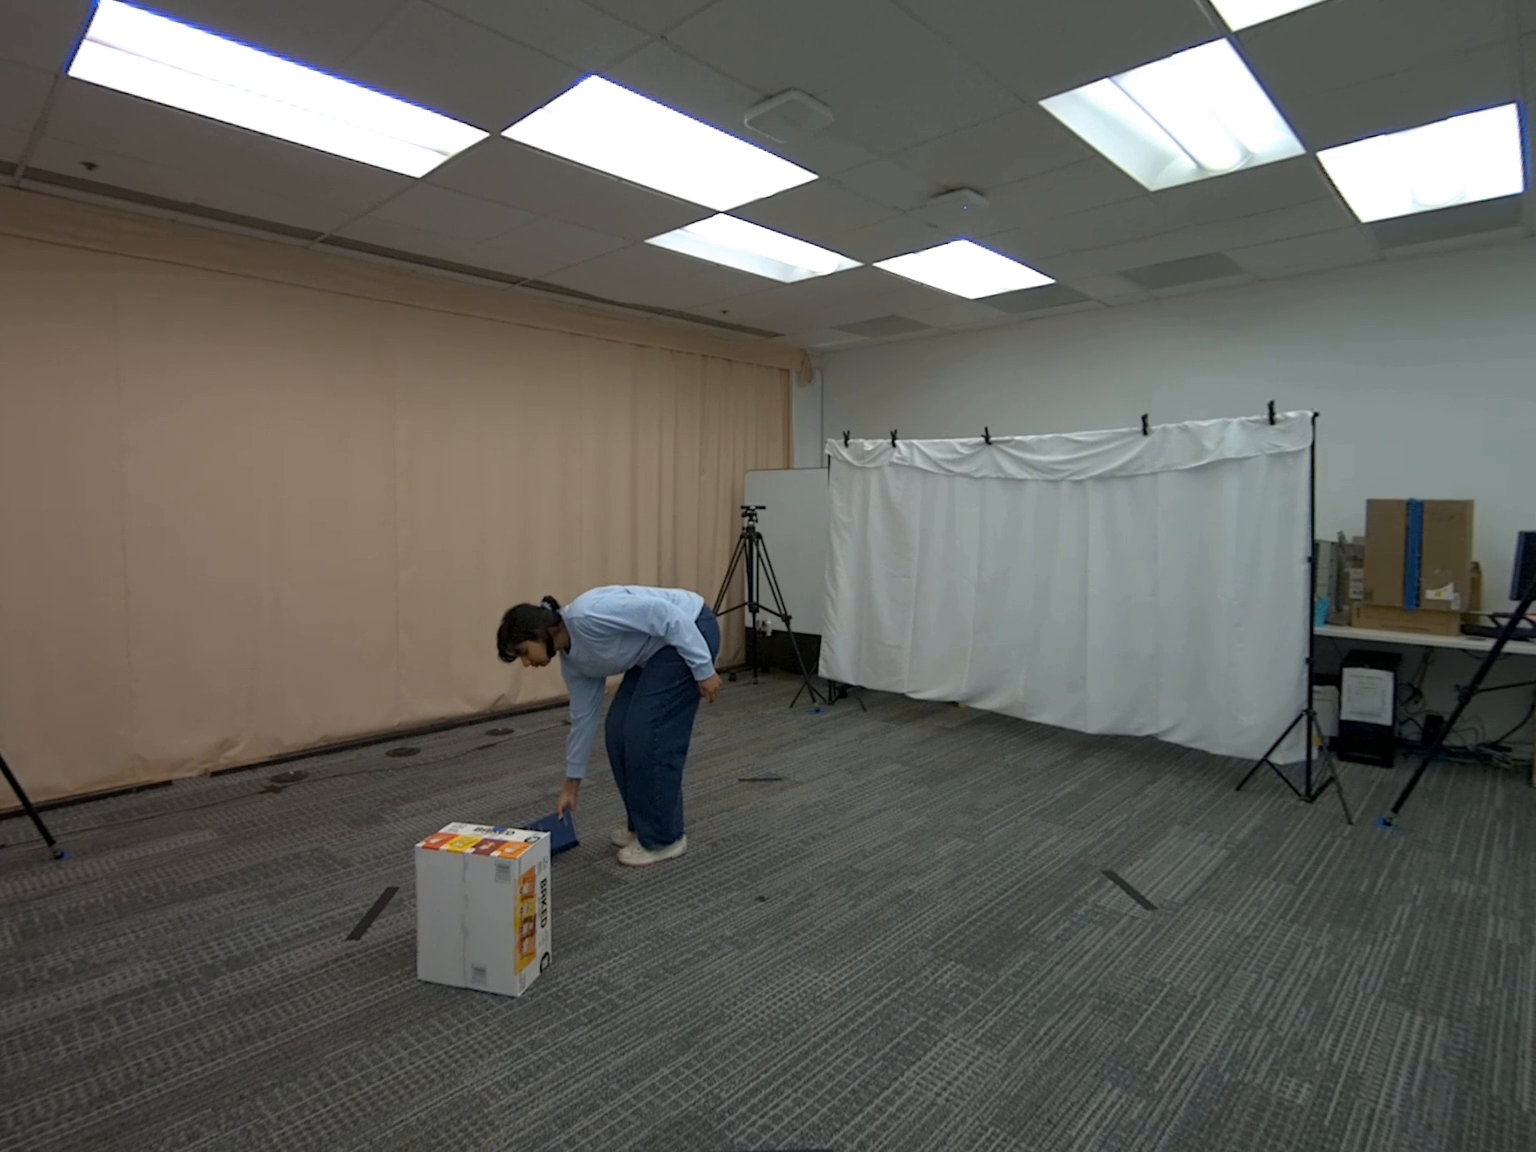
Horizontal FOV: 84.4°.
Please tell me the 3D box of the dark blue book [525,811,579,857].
[{"bbox_3d":[-0.875,1.033,3.310,0.243,0.044,0.168,-20,38,-8],"label":"dark blue book"}]
